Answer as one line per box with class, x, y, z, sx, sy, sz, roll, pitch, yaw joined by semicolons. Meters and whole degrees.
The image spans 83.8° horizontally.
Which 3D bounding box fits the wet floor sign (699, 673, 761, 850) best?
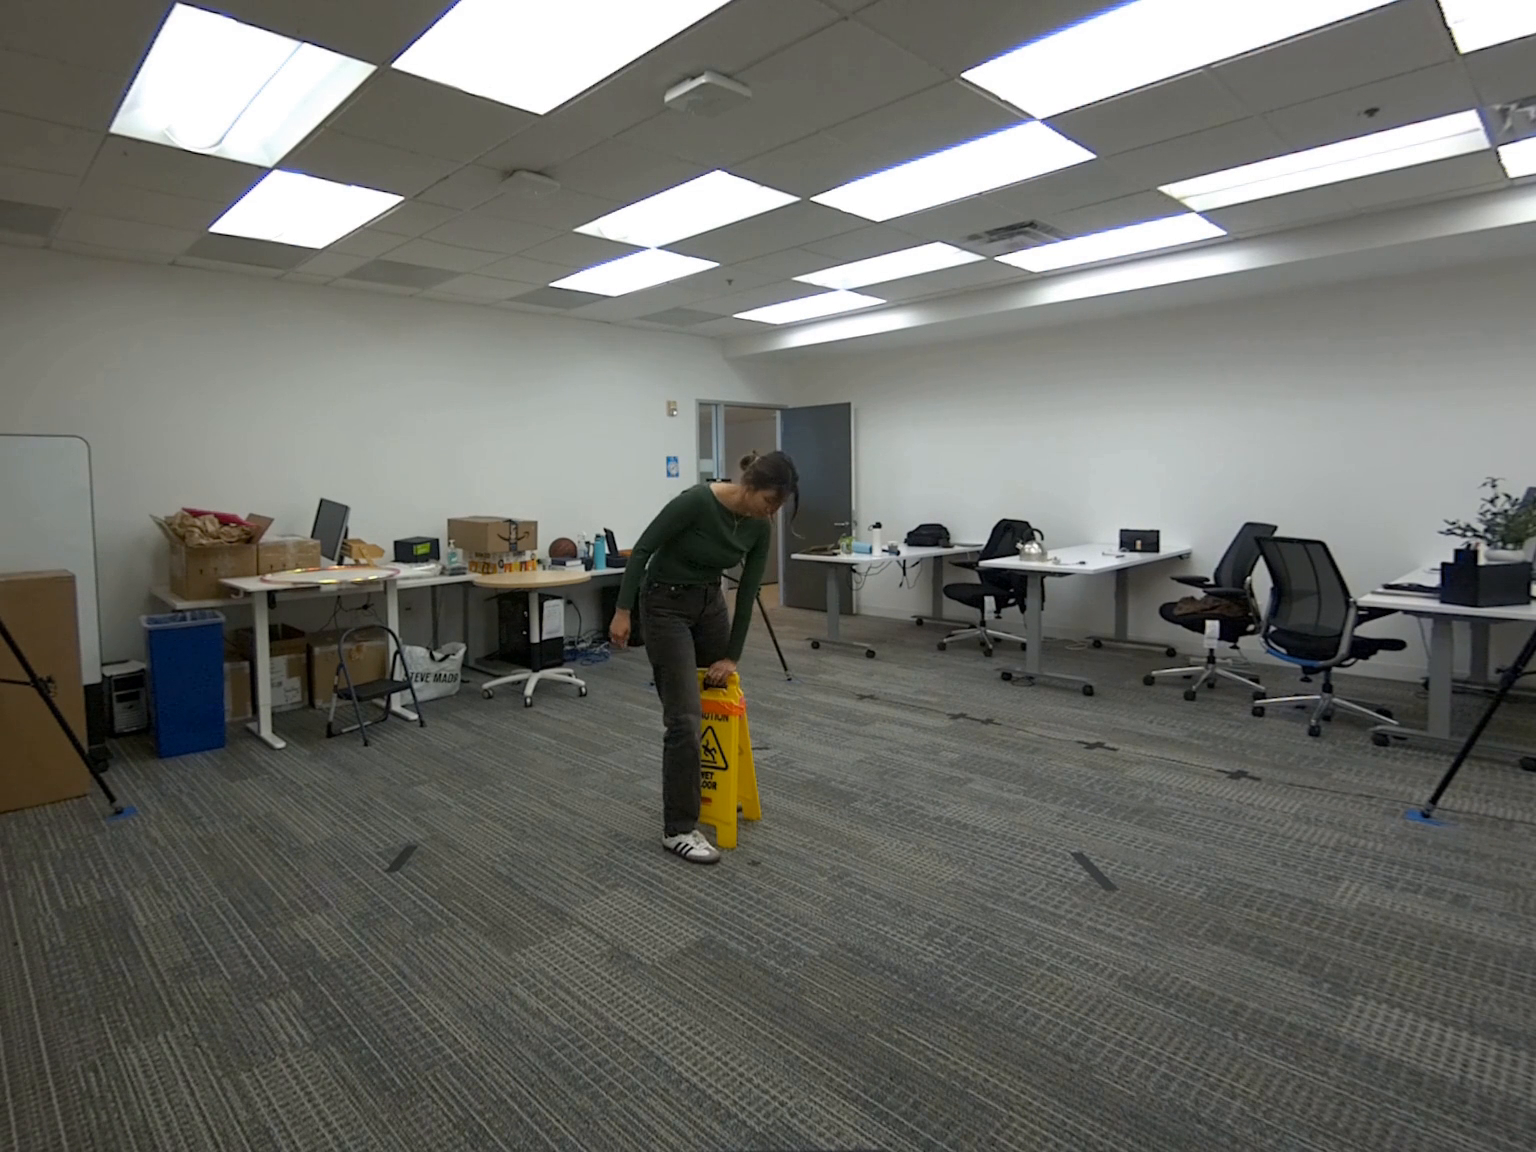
wet floor sign;-0.209;0.694;3.393;0.287;0.643;0.286;0;5;19
